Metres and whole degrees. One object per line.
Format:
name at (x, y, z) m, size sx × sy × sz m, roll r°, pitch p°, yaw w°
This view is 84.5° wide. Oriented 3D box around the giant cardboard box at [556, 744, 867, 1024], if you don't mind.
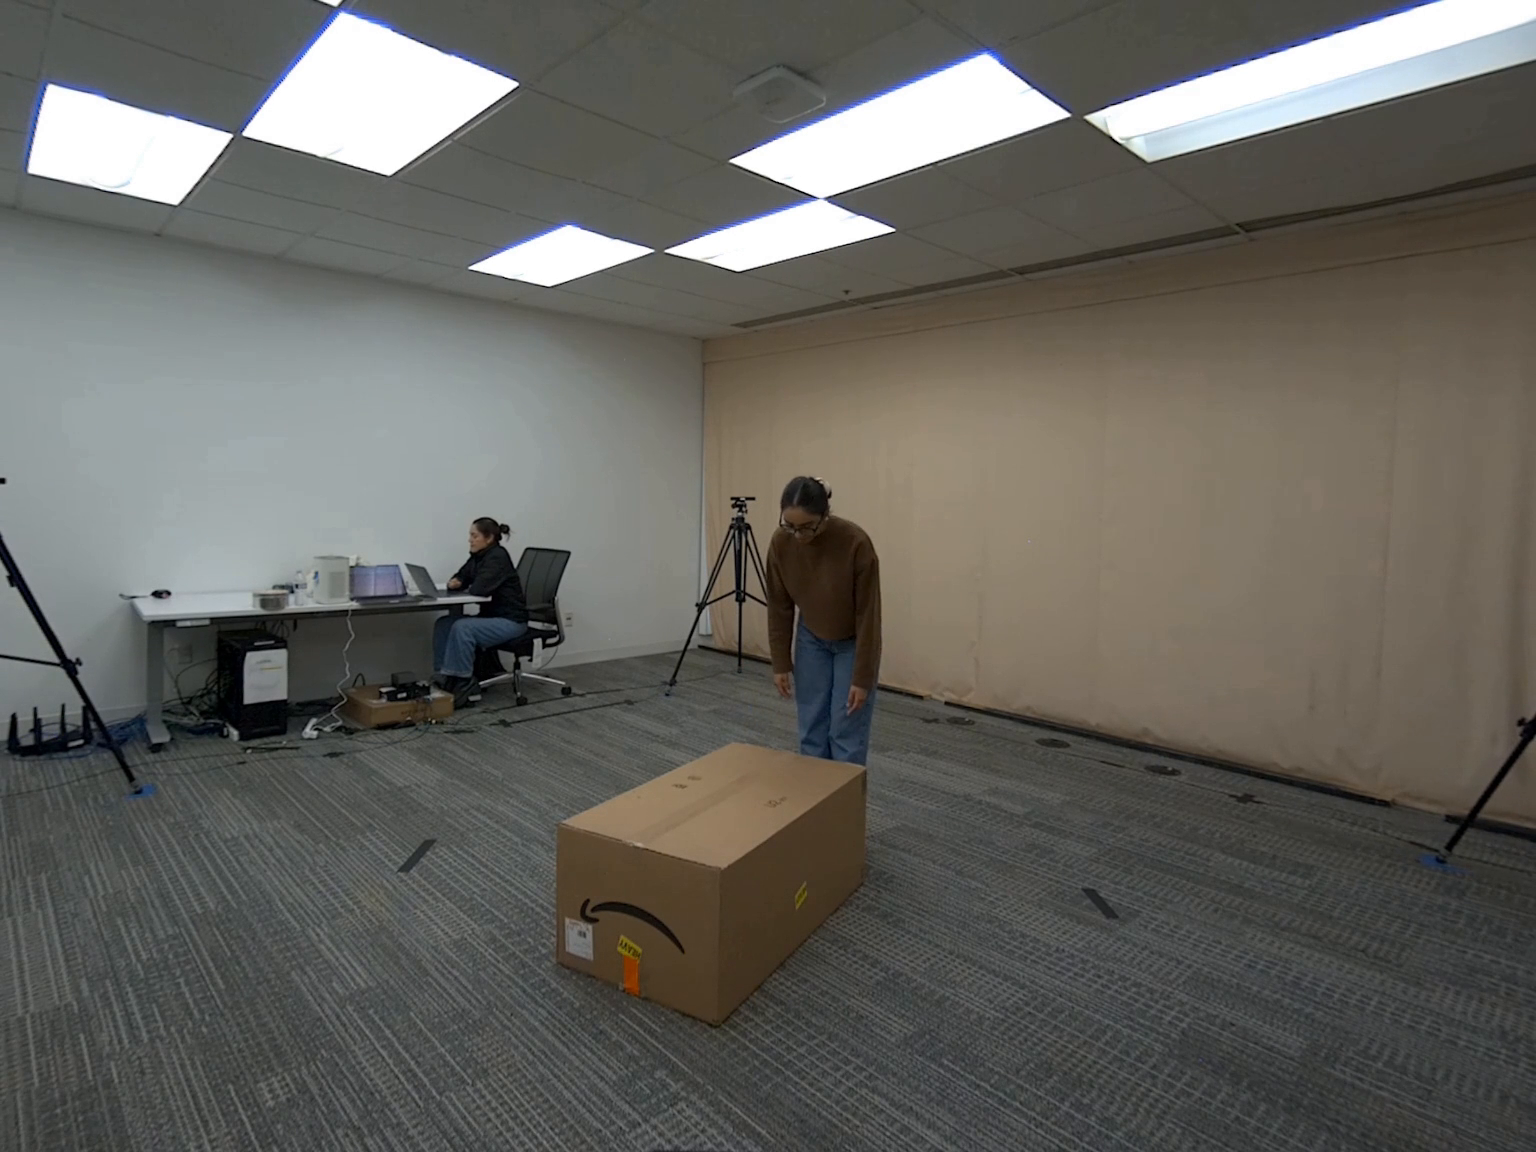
giant cardboard box at (-0.140, 0.924, 2.770) m, size 0.597 × 0.445 × 1.008 m, roll 5°, pitch 6°, yaw 29°
